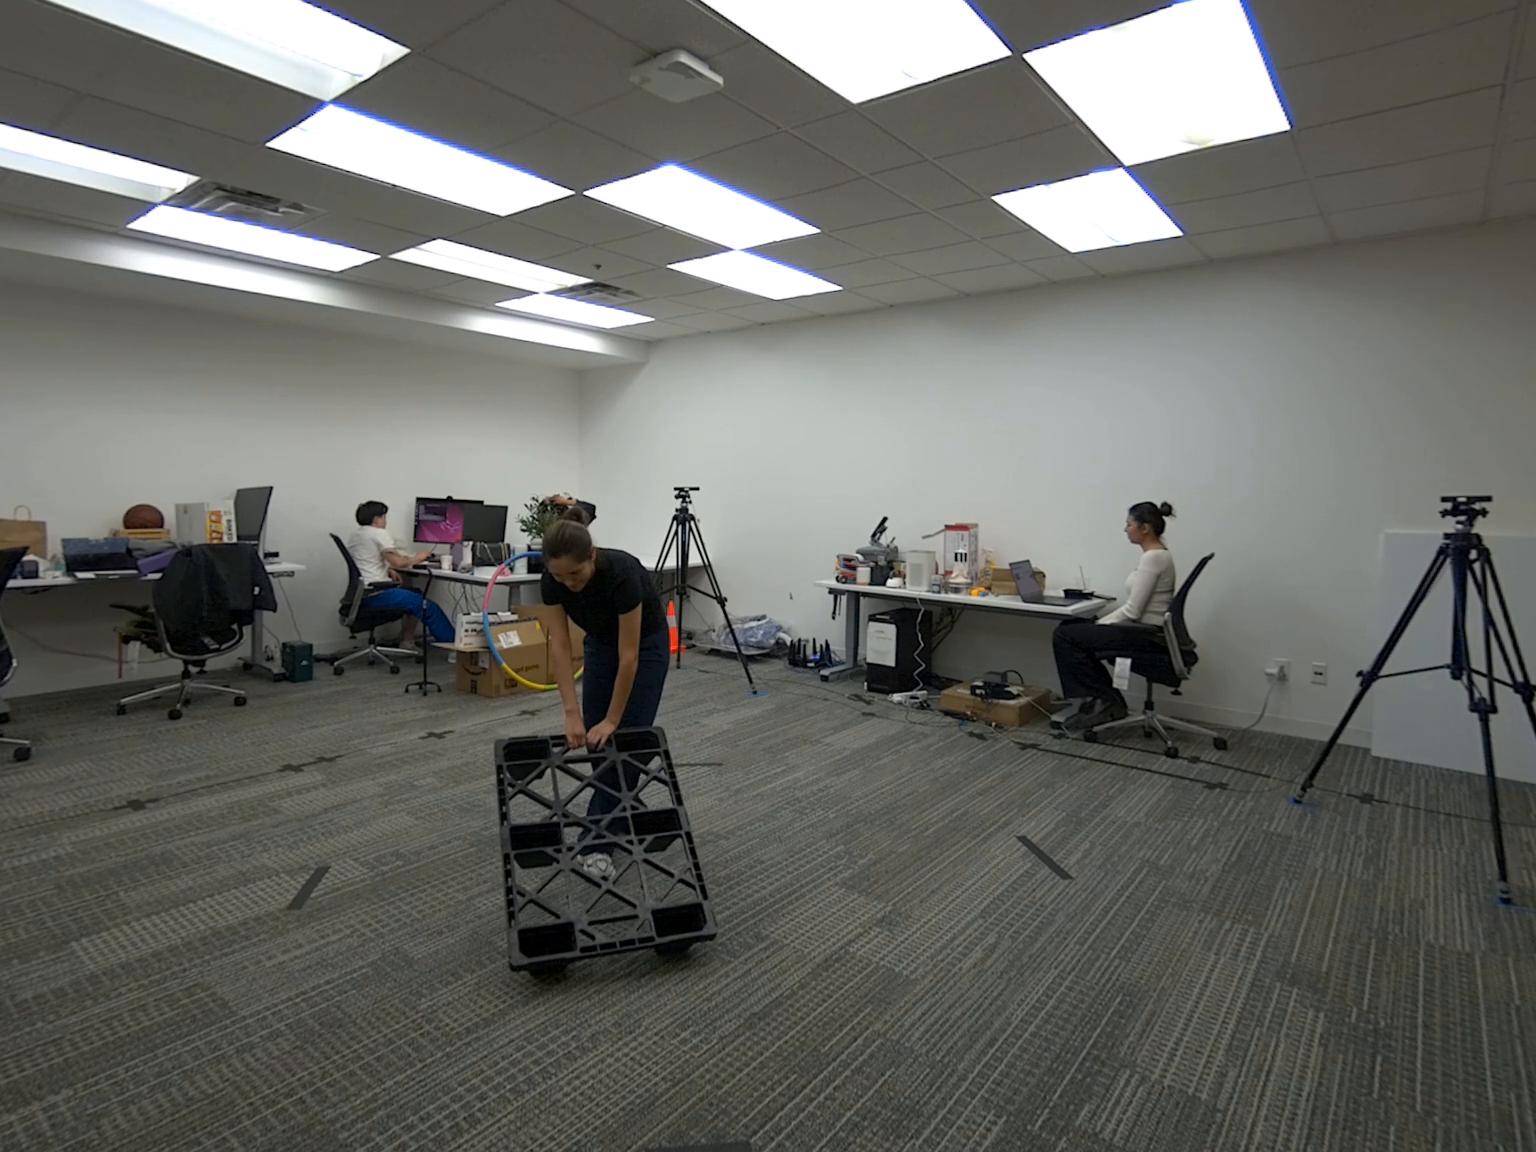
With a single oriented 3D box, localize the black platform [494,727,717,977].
[{"bbox_3d":[-0.542,0.840,2.750,0.594,0.140,0.837,-2,38,-19],"label":"black platform"}]
